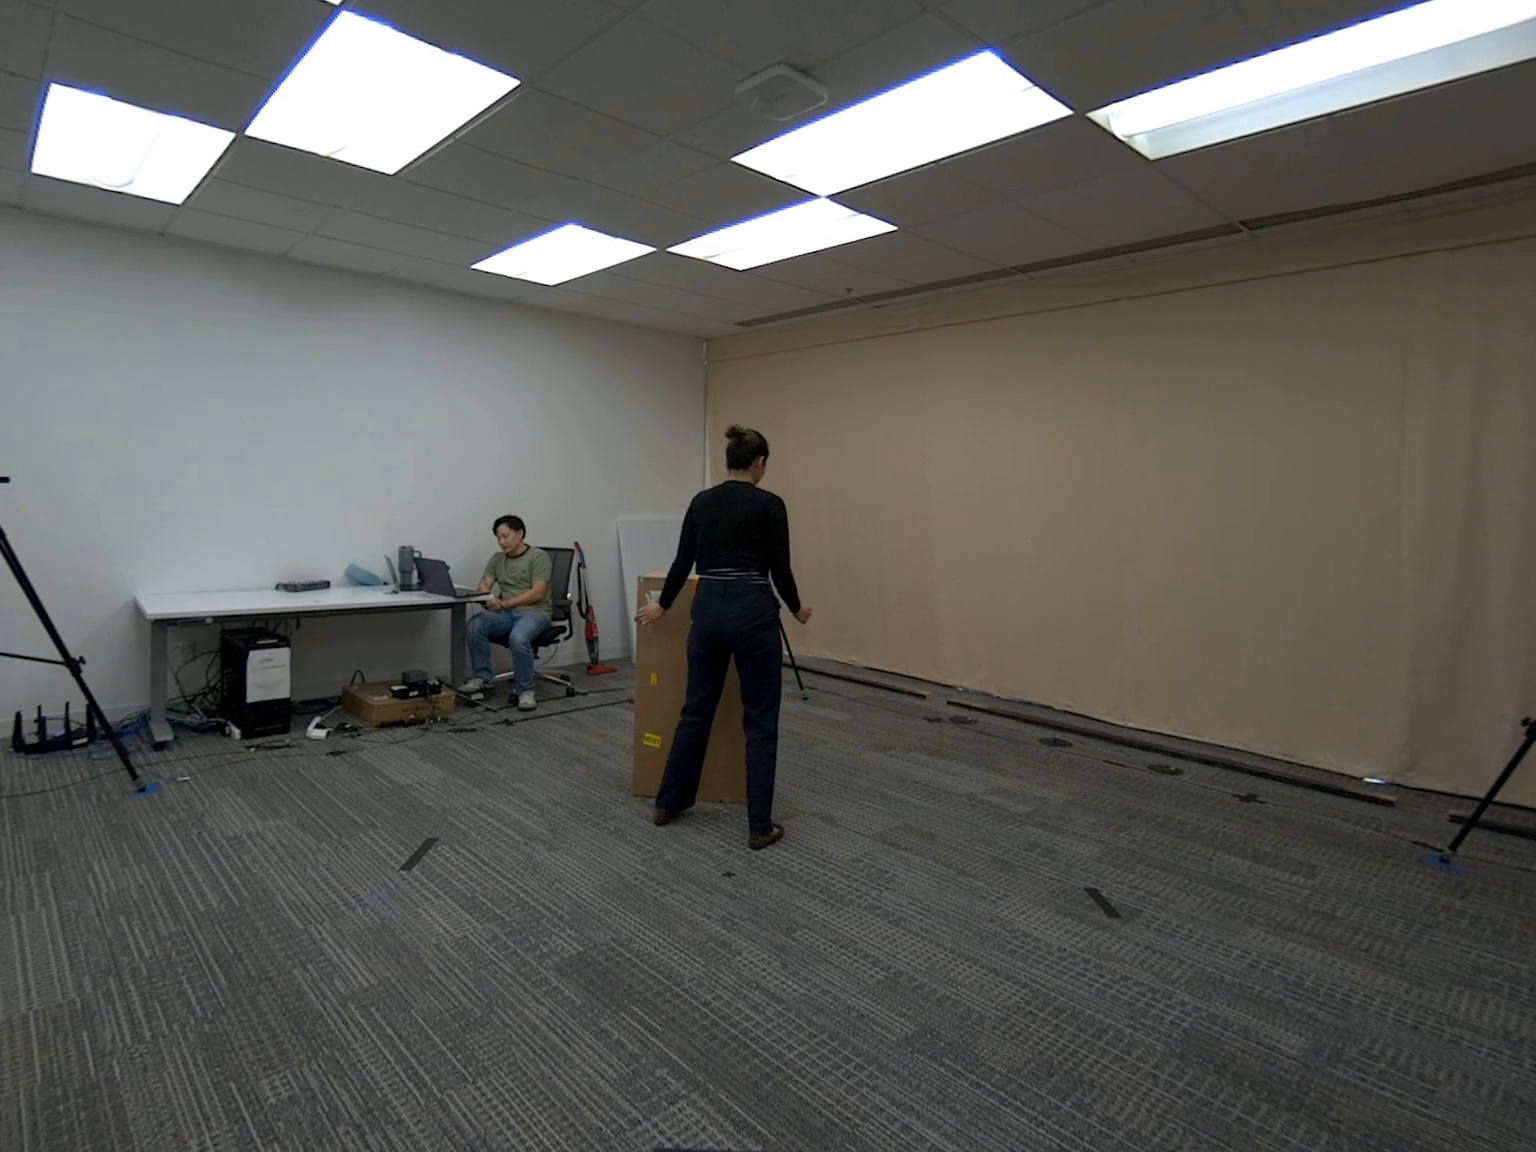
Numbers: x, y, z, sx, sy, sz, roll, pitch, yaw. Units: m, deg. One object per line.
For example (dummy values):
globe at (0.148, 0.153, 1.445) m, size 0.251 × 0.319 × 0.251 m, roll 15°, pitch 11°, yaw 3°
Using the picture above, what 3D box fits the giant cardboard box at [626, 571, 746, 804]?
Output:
giant cardboard box at (-0.325, 0.503, 4.052) m, size 0.580 × 1.023 × 0.425 m, roll 3°, pitch 4°, yaw 6°
